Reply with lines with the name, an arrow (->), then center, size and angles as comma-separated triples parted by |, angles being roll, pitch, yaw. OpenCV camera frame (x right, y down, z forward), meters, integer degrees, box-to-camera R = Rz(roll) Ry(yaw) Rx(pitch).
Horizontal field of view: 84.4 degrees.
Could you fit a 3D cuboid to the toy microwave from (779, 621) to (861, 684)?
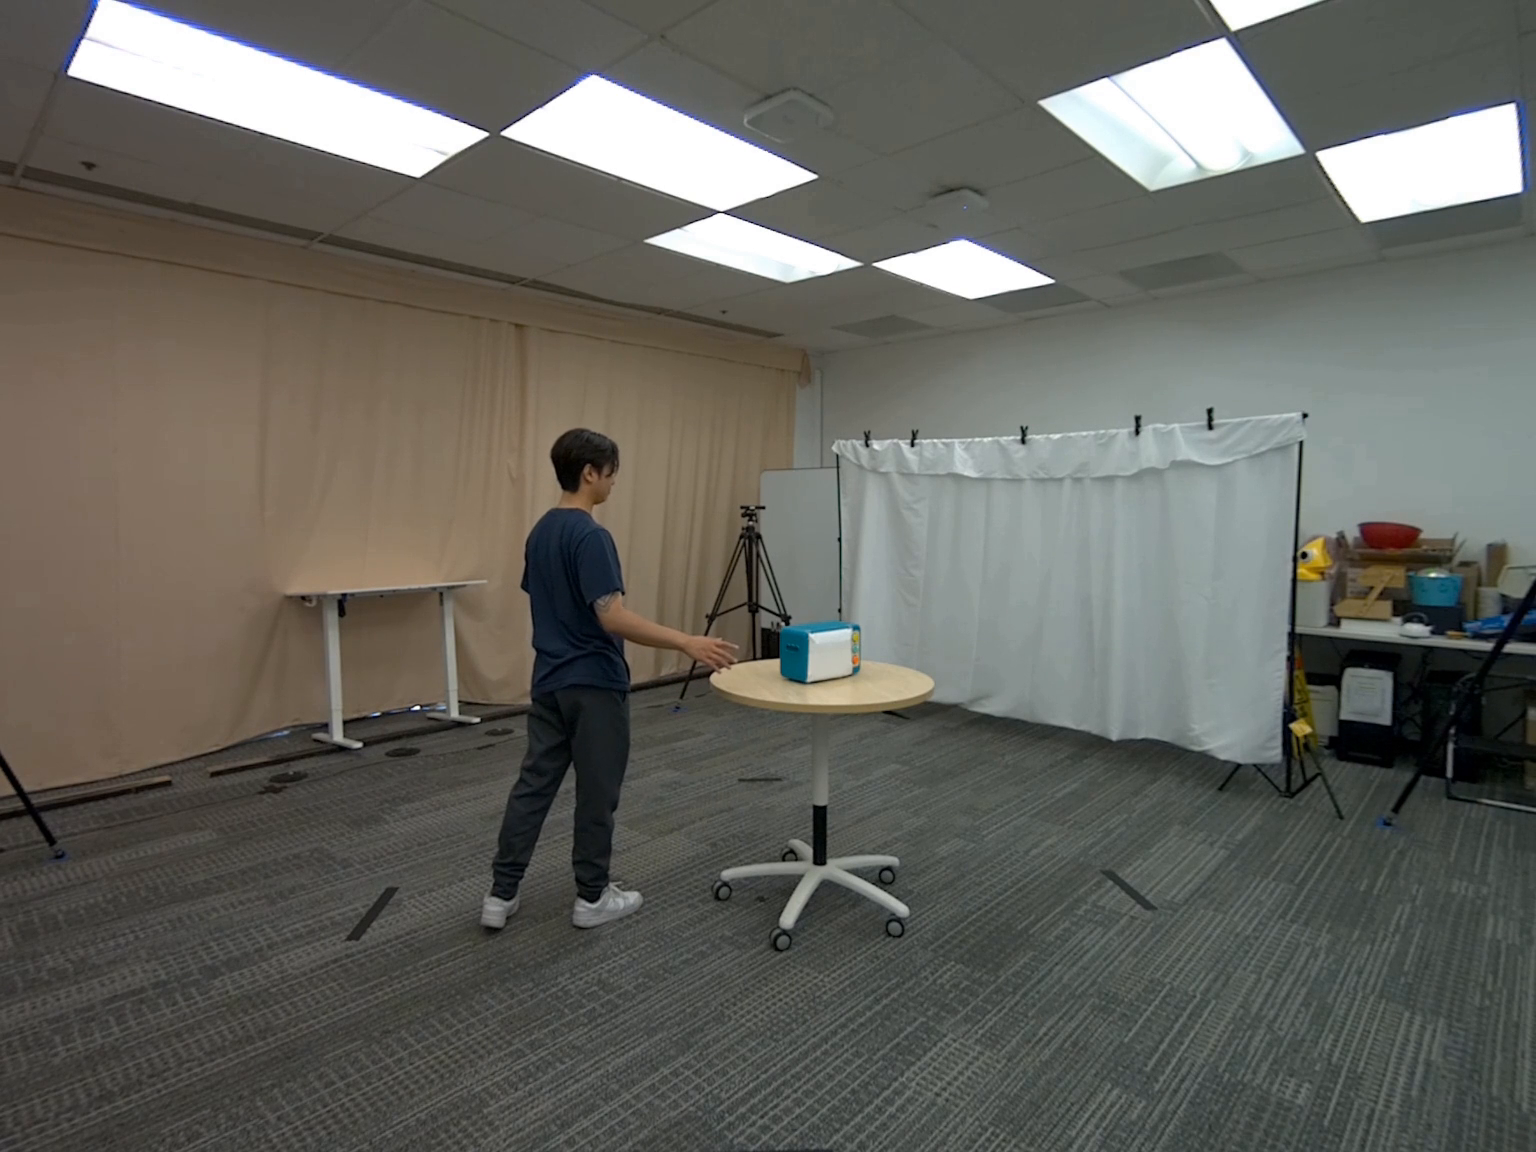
toy microwave -> 0.196, 0.262, 2.919 | 0.278, 0.184, 0.157 | -3, 5, -38
